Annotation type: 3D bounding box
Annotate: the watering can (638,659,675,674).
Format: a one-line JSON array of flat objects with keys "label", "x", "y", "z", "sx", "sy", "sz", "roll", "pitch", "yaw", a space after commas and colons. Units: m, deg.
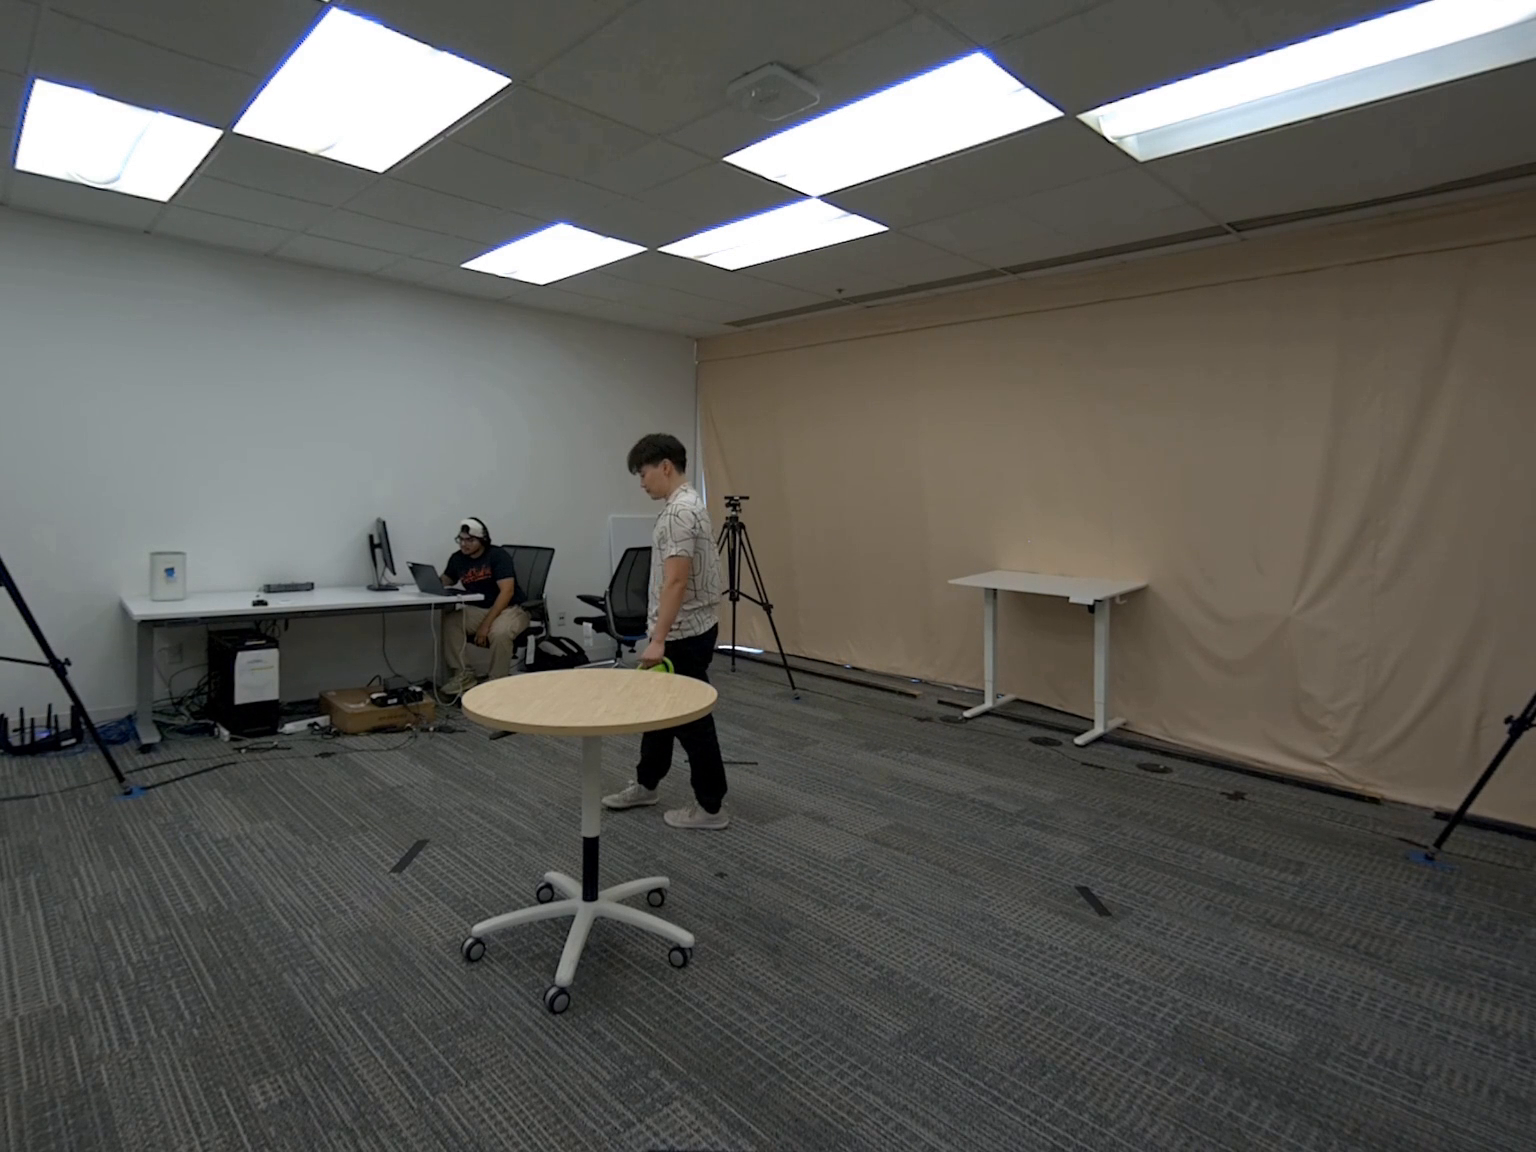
[{"label": "watering can", "x": -0.512, "y": 0.431, "z": 3.313, "sx": 0.280, "sy": 0.178, "sz": 0.096, "roll": -29, "pitch": -9, "yaw": 26}]
